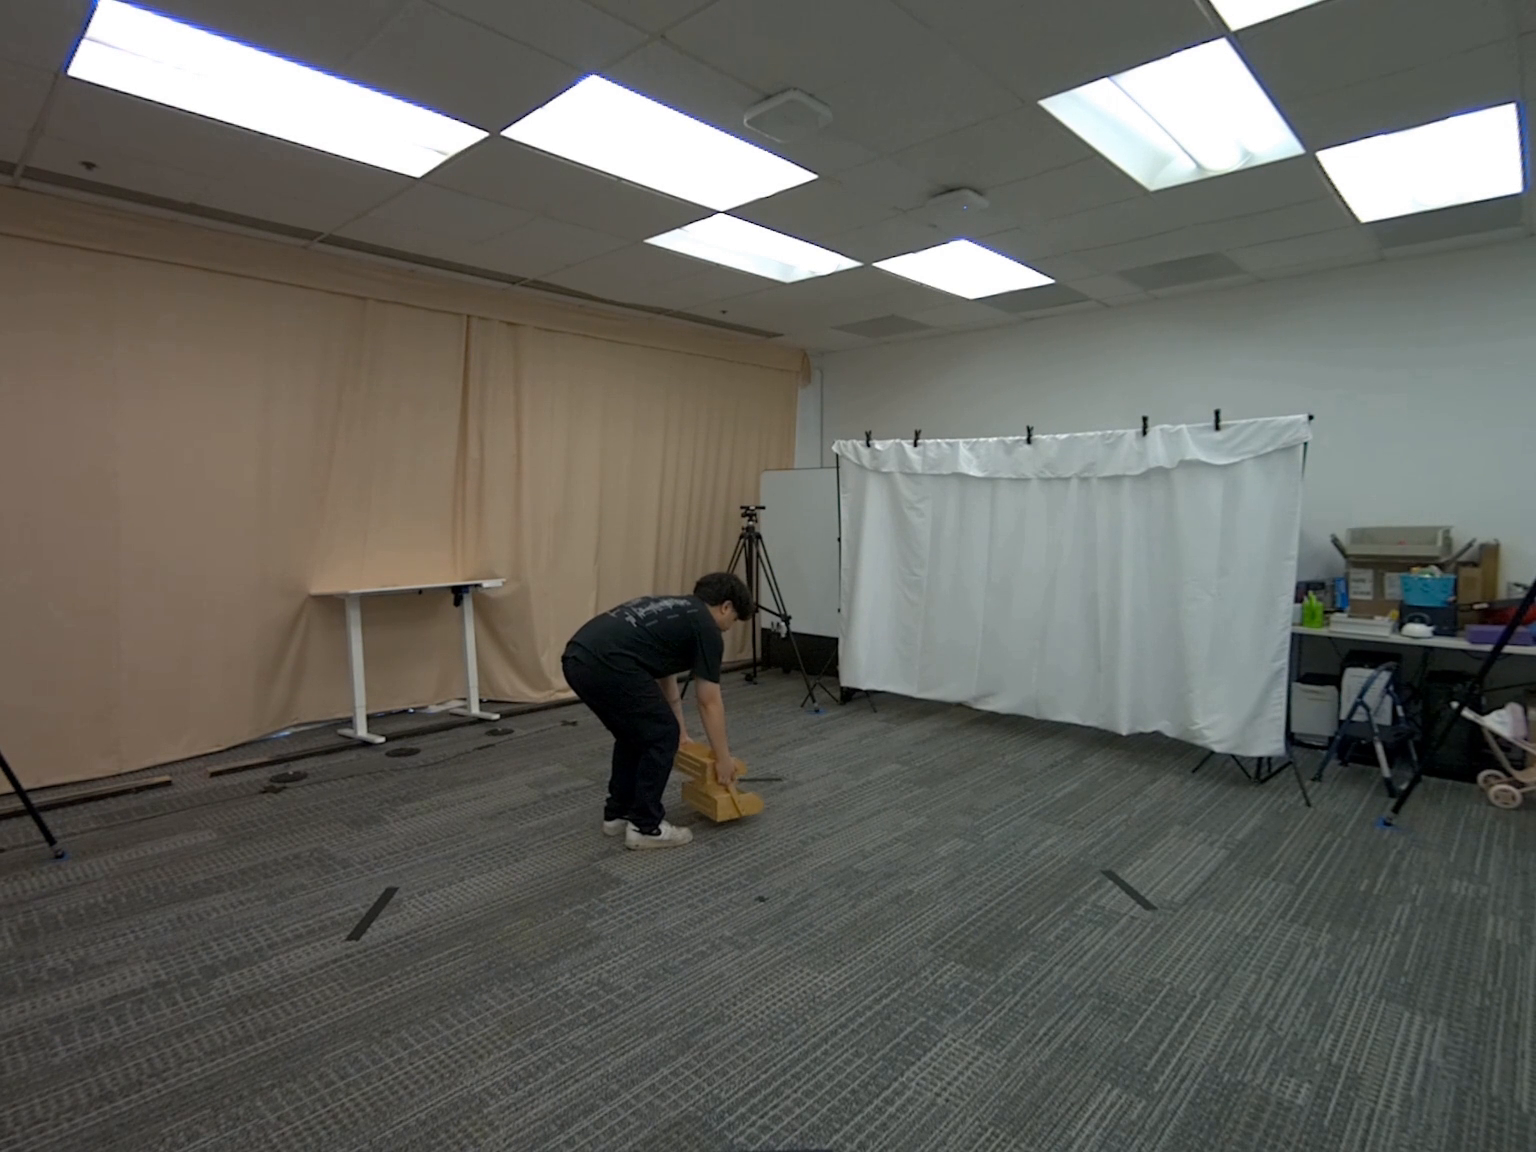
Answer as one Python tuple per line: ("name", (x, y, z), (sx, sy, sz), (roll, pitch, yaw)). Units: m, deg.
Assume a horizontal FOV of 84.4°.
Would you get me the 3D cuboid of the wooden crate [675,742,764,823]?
("wooden crate", (-0.221, 0.894, 3.735), (0.293, 0.273, 0.334), (-1, 3, -34))
